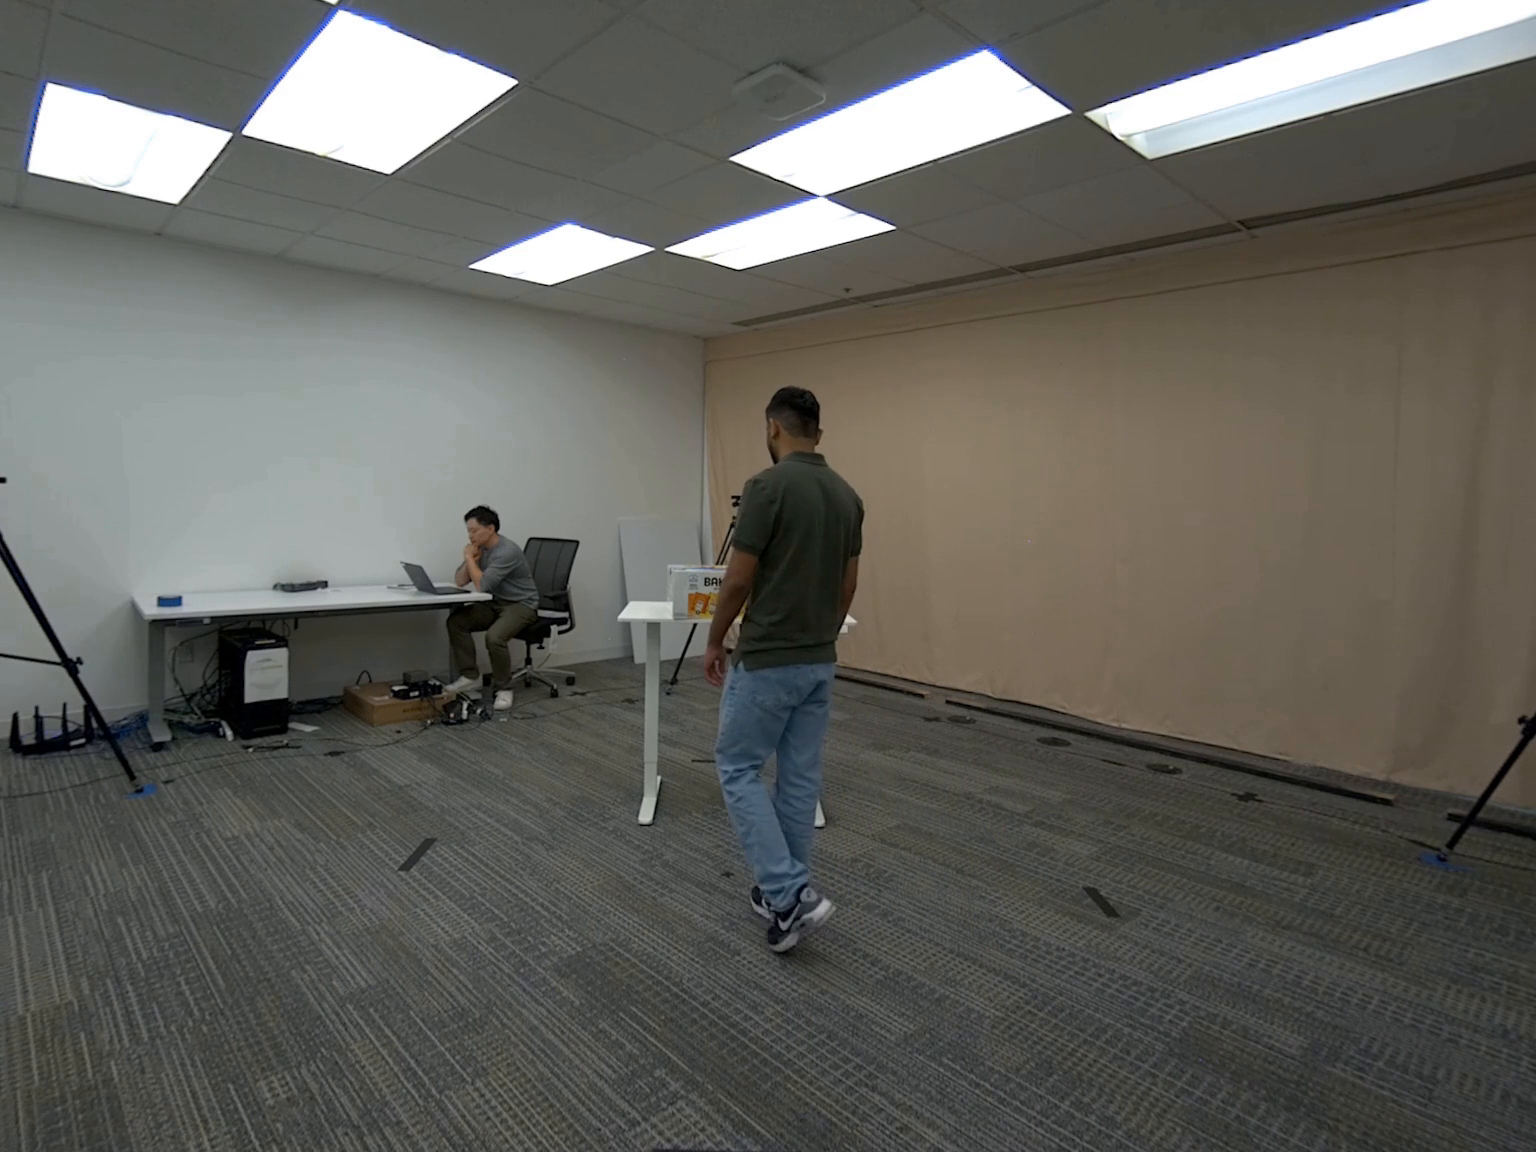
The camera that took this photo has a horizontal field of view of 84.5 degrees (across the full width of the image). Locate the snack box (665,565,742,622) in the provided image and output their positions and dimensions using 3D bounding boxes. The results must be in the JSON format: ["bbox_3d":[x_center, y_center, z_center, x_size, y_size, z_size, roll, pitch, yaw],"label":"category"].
[{"bbox_3d":[-0.228,0.067,3.674,0.402,0.205,0.344,0,4,-10],"label":"snack box"}]
